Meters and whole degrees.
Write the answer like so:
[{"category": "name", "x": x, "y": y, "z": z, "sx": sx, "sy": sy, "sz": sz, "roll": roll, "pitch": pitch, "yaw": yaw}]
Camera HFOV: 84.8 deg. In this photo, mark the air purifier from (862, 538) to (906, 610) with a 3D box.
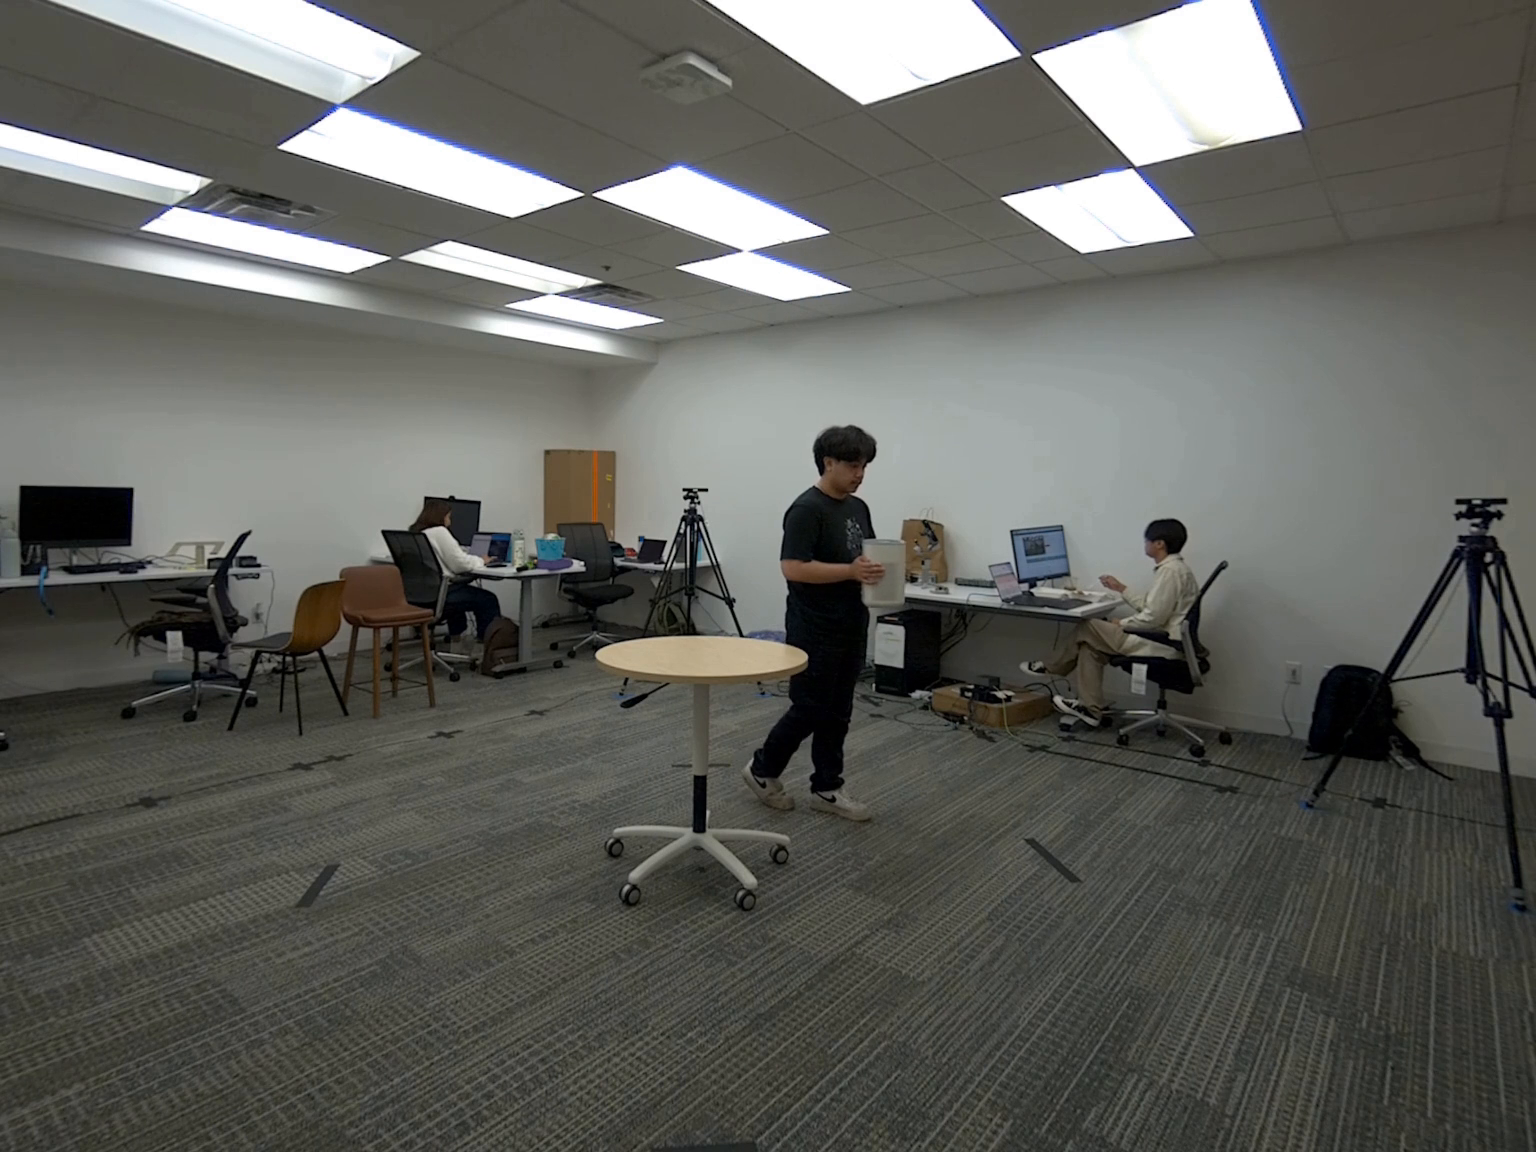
[{"category": "air purifier", "x": 0.450, "y": -0.015, "z": 3.461, "sx": 0.171, "sy": 0.264, "sz": 0.173, "roll": 1, "pitch": 7, "yaw": -5}]
